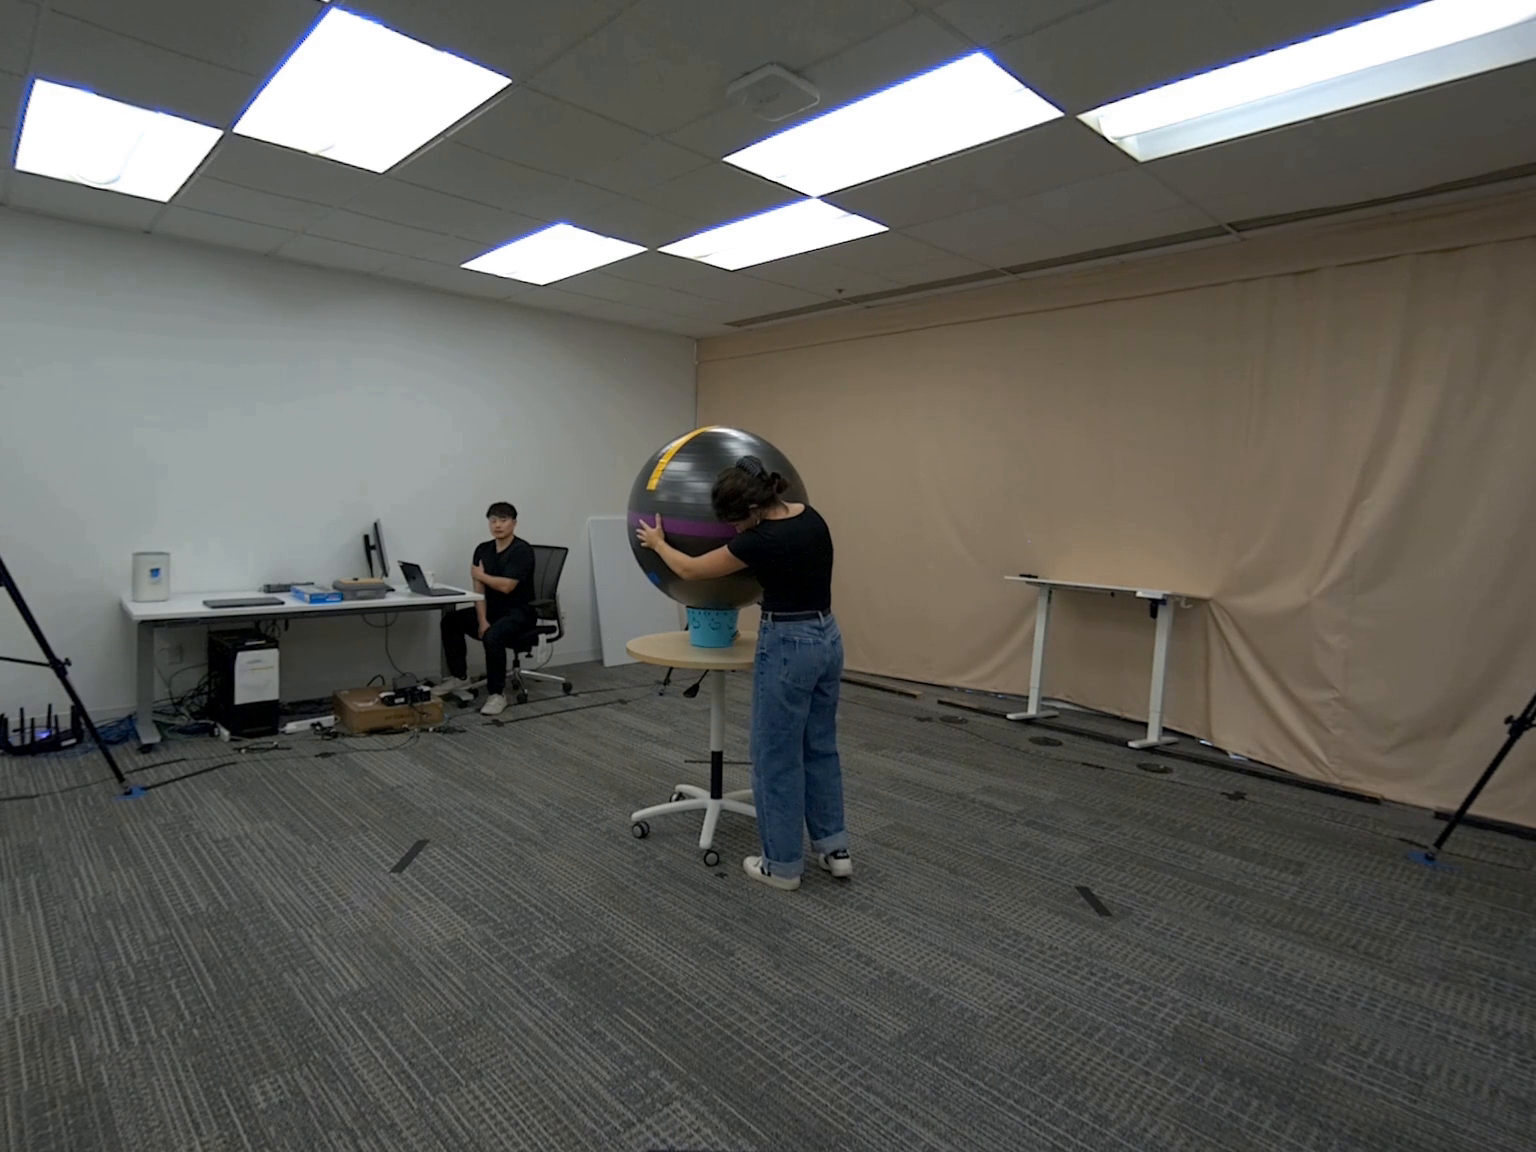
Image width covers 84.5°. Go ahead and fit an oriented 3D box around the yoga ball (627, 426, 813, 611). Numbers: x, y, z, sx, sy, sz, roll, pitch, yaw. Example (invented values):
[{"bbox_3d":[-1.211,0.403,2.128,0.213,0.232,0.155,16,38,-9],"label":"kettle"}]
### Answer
[{"bbox_3d":[-0.210,-0.235,3.497,0.757,0.756,0.761,1,4,-1],"label":"yoga ball"}]
